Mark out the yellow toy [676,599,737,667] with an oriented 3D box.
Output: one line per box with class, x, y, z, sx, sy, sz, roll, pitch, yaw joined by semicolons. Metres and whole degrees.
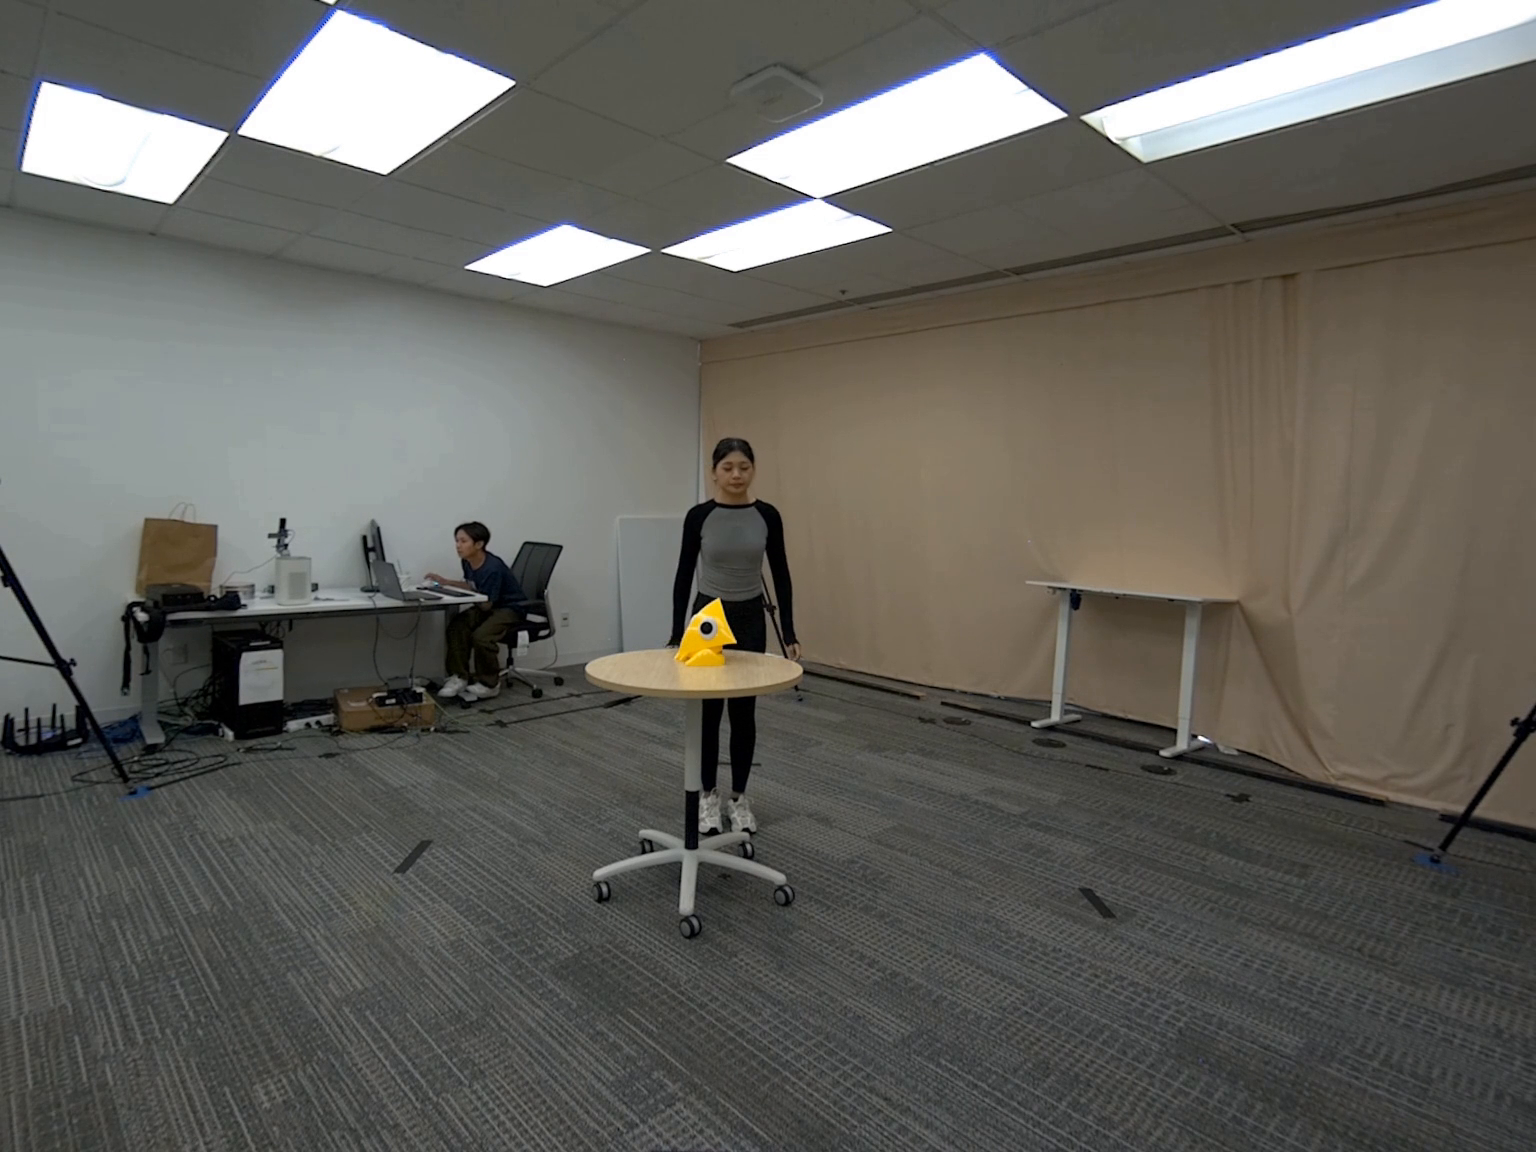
yellow toy;-0.249;0.201;3.089;0.190;0.230;0.209;-1;3;-24
